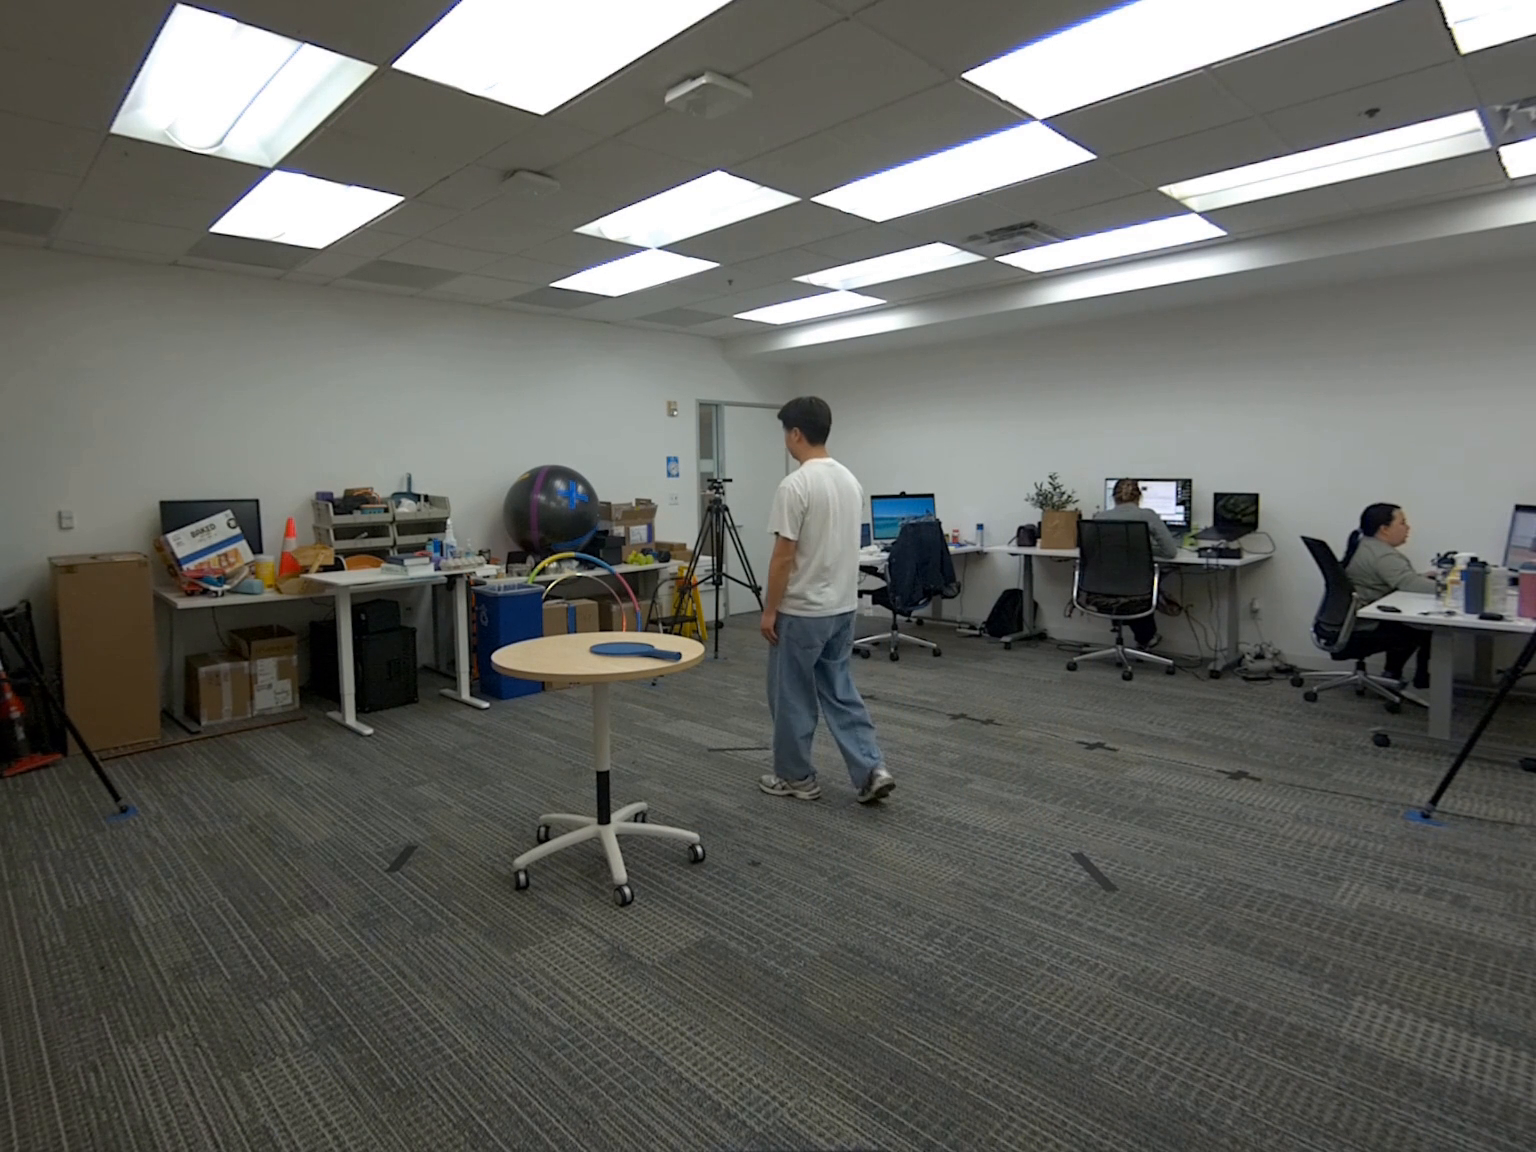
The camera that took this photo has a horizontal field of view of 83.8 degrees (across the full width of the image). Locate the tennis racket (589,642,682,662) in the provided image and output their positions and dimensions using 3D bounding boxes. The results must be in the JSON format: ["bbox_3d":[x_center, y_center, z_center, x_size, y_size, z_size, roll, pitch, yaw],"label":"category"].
[{"bbox_3d":[-0.468,0.269,3.038,0.446,0.031,0.208,3,7,44],"label":"tennis racket"}]
